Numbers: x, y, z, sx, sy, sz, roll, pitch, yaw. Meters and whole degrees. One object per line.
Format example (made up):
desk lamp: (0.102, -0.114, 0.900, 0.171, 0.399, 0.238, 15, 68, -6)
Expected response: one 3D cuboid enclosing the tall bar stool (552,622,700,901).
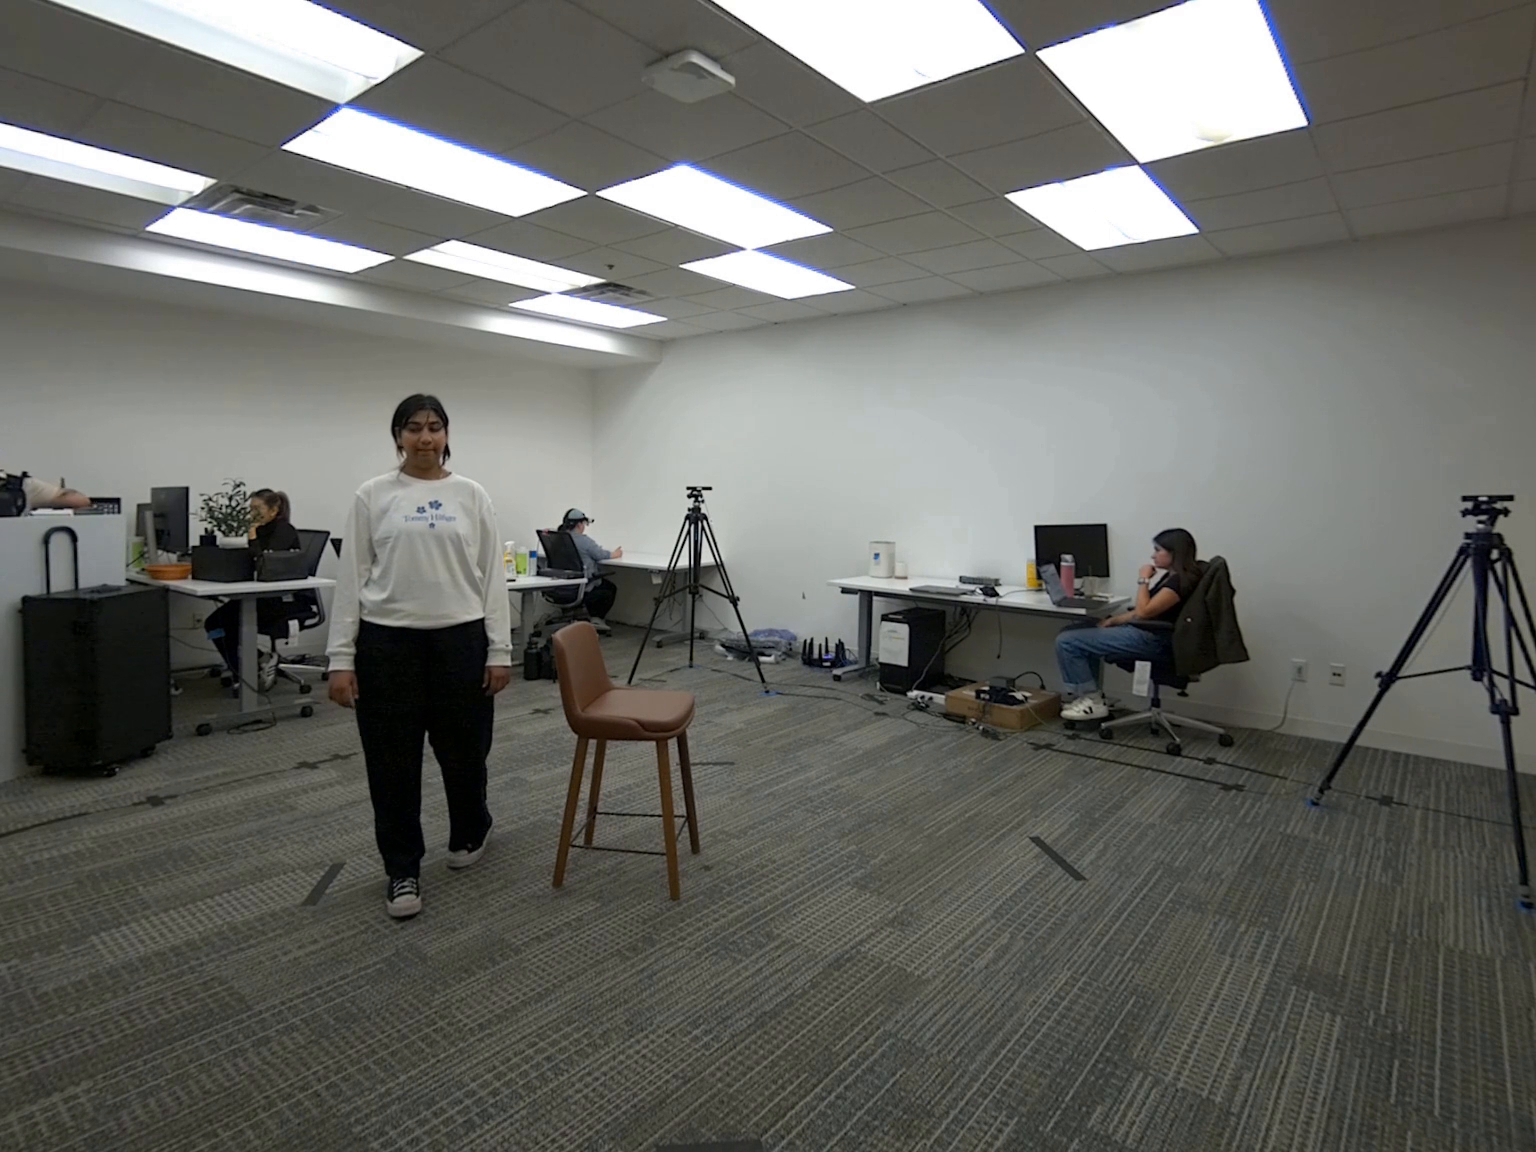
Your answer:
tall bar stool: (-0.509, 0.630, 3.067, 0.472, 0.887, 0.453, -1, 3, 8)
